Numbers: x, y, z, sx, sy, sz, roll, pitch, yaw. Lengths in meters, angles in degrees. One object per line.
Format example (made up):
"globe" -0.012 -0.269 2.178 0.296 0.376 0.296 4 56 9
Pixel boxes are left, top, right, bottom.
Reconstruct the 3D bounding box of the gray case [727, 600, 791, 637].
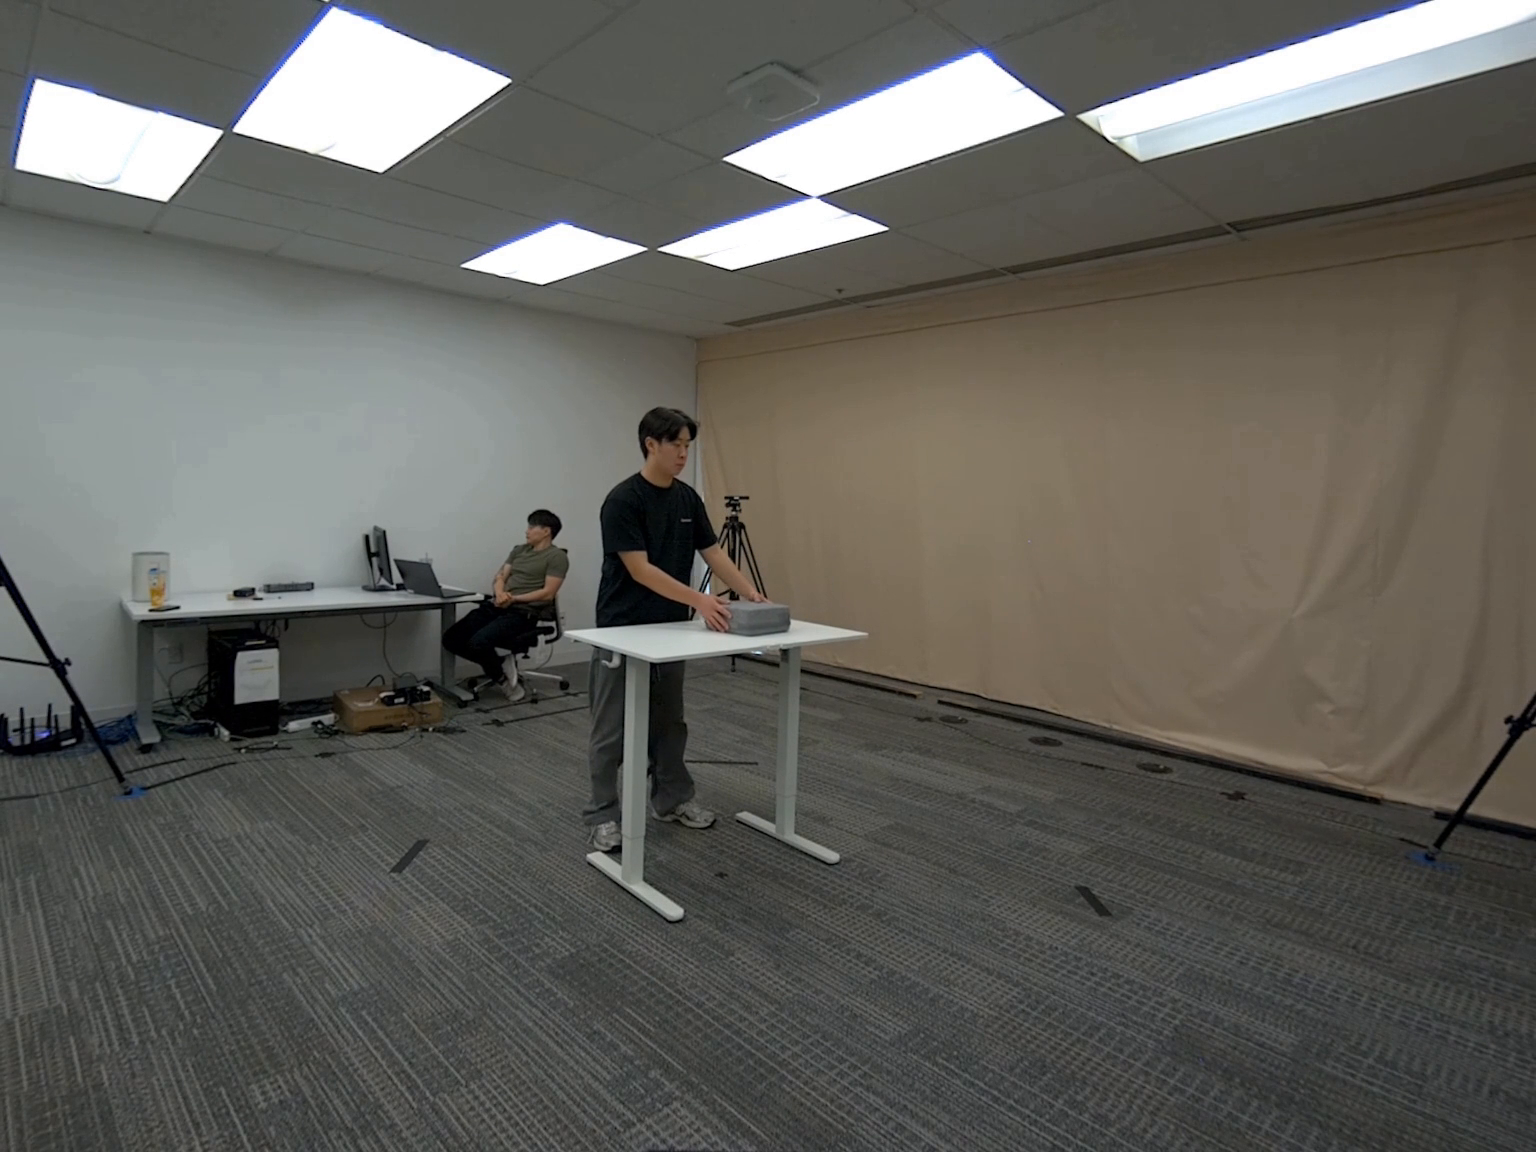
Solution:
"gray case" -0.072 0.159 3.255 0.281 0.103 0.270 -4 7 -44
